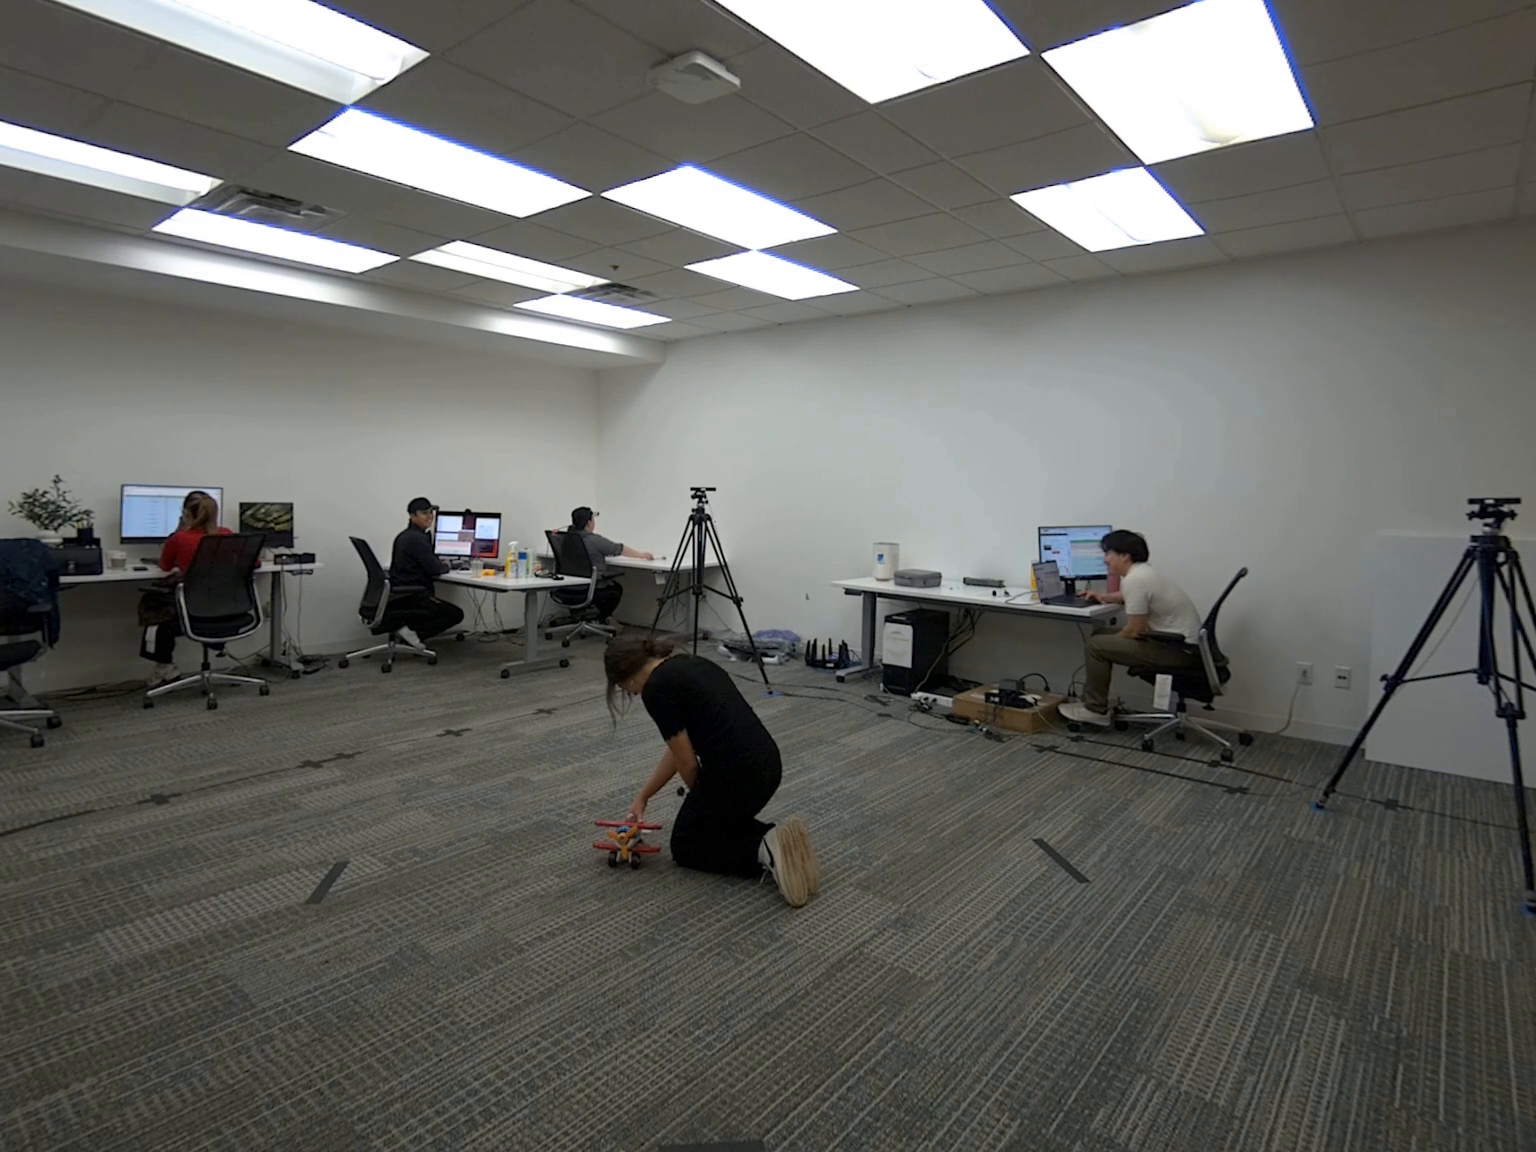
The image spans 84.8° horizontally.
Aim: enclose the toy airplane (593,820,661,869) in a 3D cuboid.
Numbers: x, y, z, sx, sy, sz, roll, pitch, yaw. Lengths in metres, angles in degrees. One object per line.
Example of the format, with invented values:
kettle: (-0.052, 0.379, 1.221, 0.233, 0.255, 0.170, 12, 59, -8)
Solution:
toy airplane: (-0.554, 0.981, 3.196, 0.245, 0.156, 0.266, 0, 5, -23)
